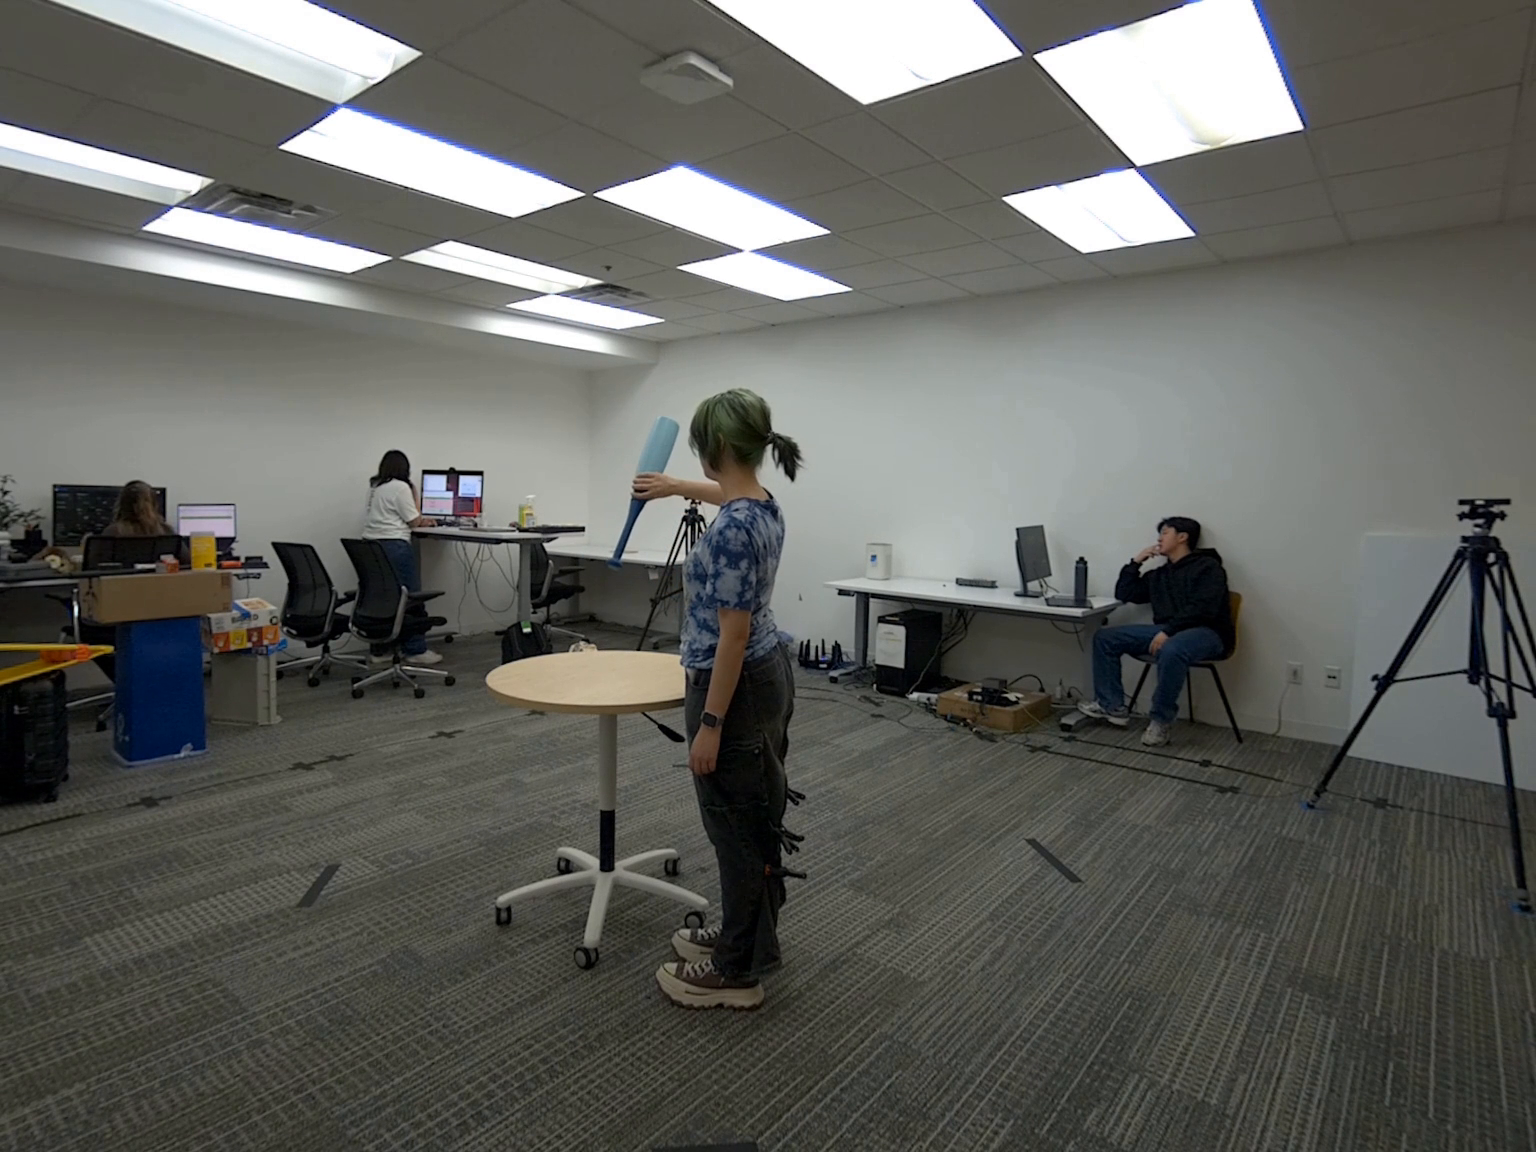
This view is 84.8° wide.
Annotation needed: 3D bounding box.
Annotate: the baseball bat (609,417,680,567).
[{"bbox_3d":[-0.411,-0.268,2.689,0.090,0.550,0.087,14,-24,4],"label":"baseball bat"}]
